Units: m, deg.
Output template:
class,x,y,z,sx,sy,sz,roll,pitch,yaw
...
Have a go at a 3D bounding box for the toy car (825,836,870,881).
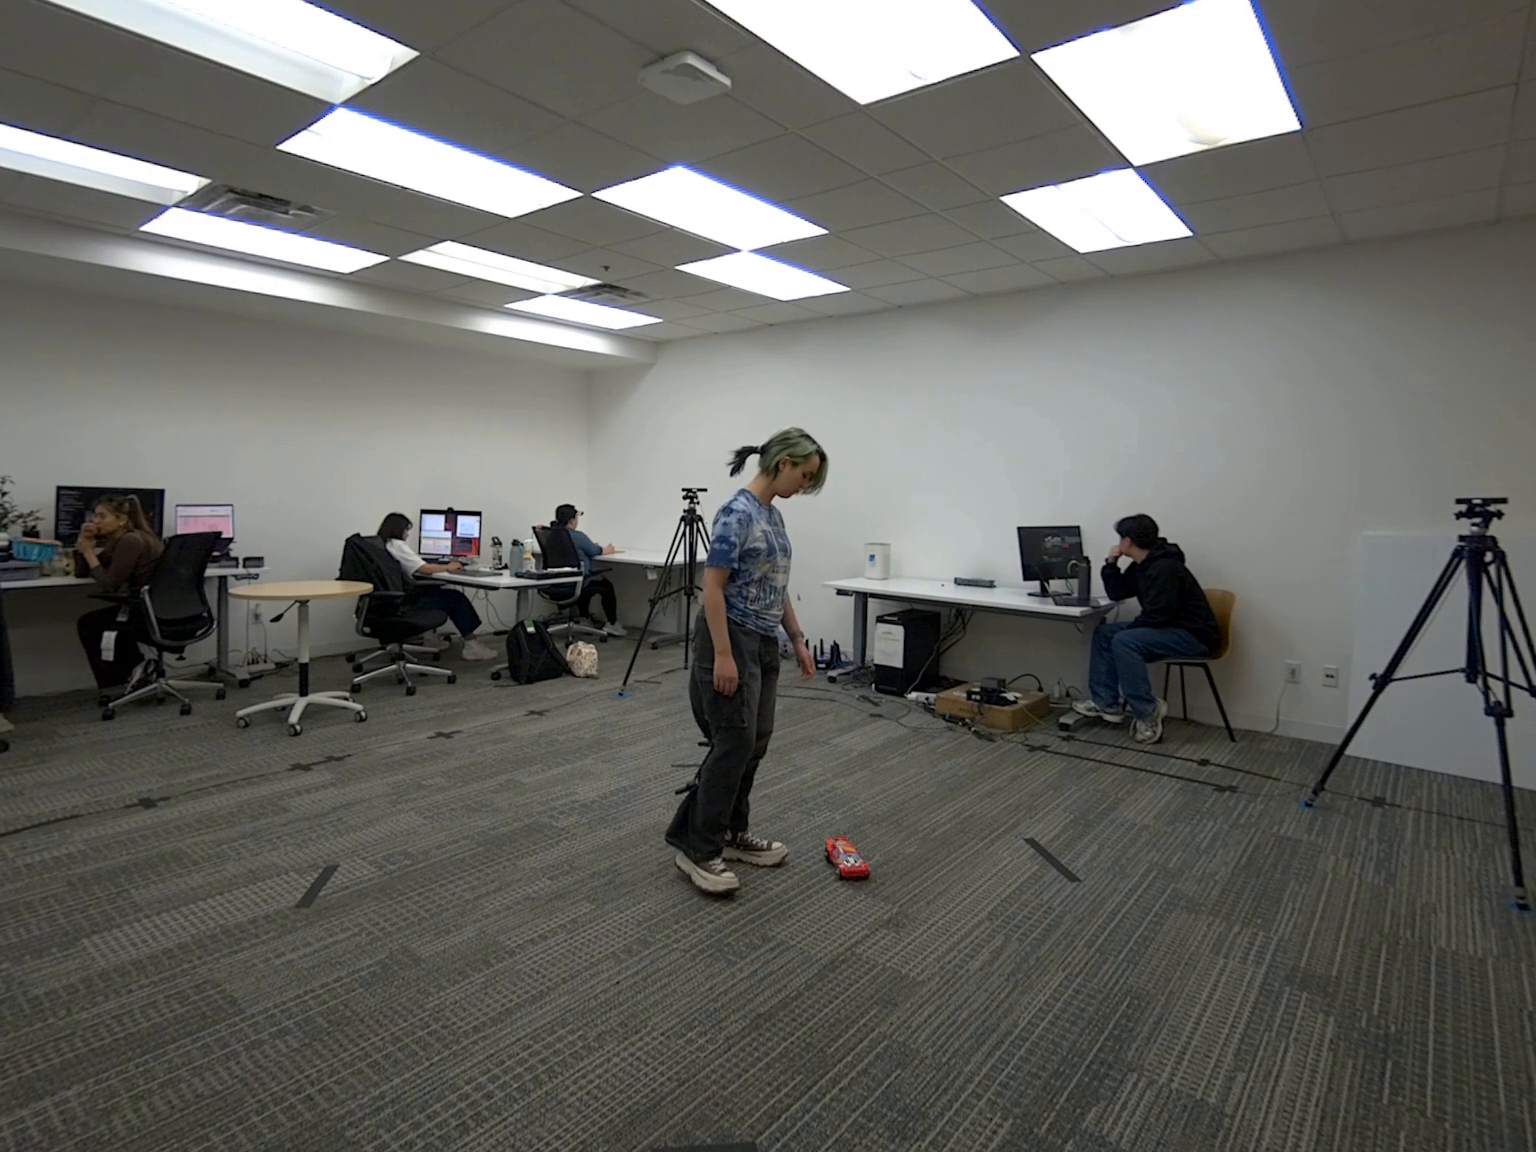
class,x,y,z,sx,sy,sz,roll,pitch,yaw
toy car,0.282,1.048,3.152,0.129,0.082,0.260,0,17,-9
